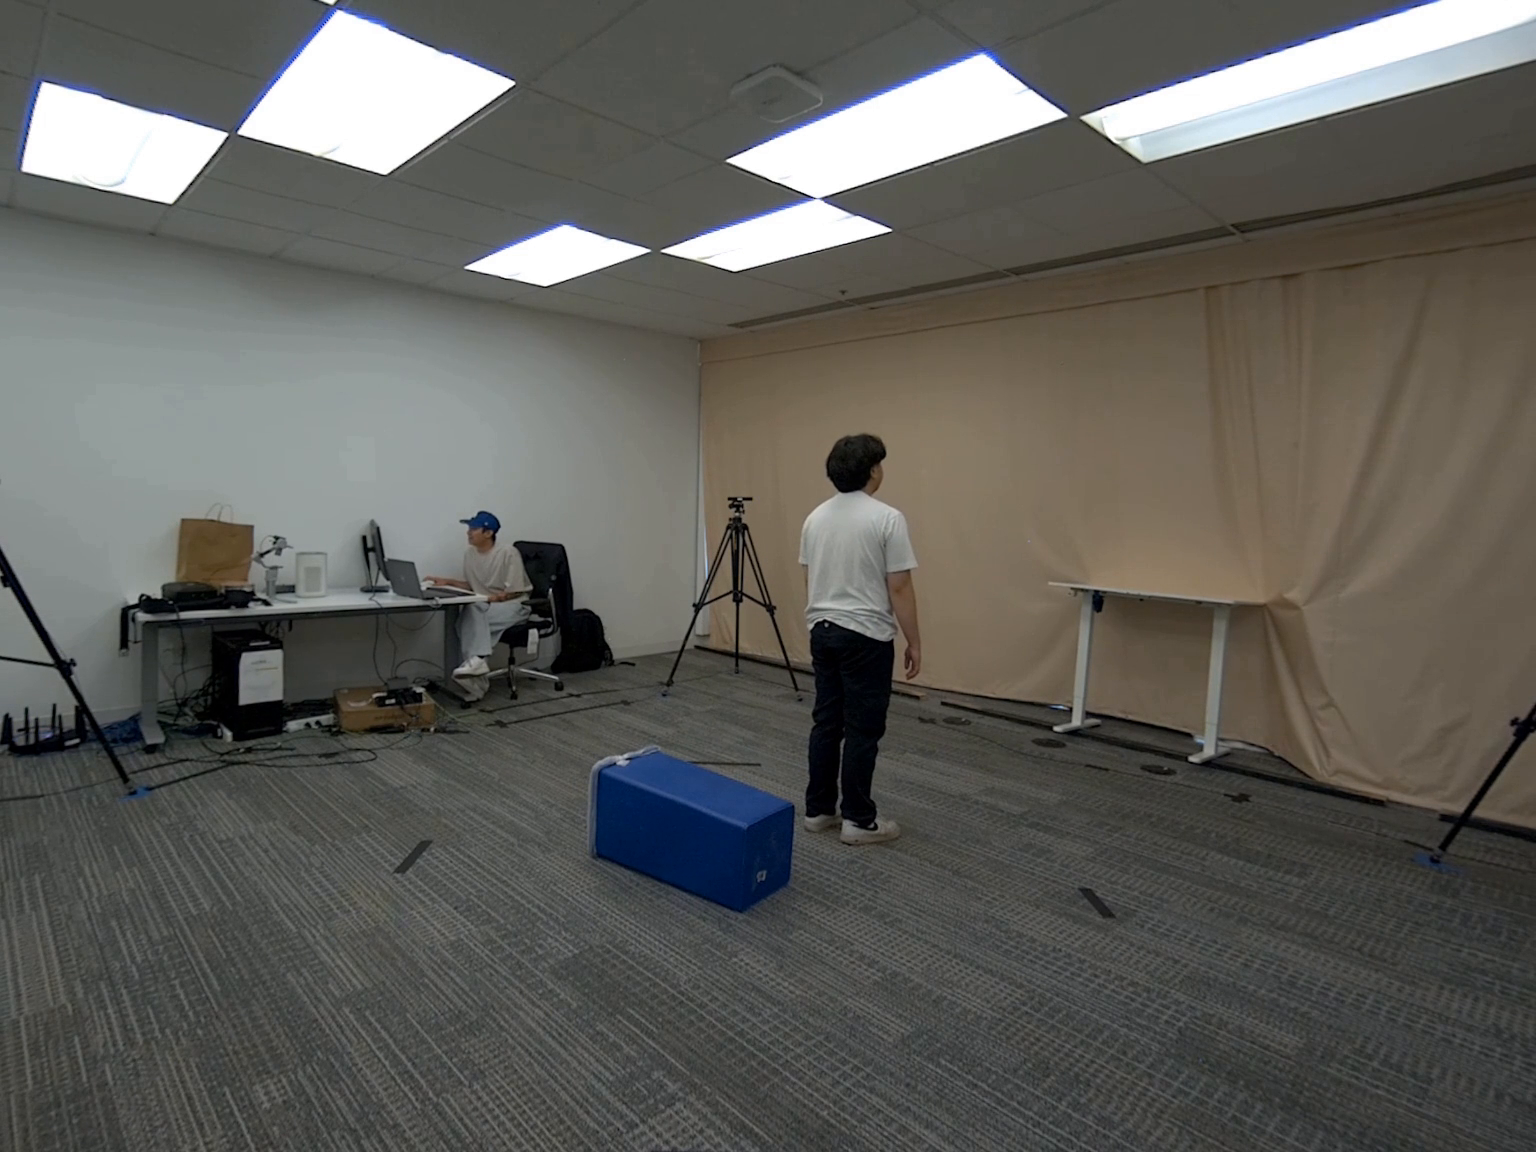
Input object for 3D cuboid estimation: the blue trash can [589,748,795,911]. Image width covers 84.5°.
[{"bbox_3d":[-0.295,0.936,3.142,0.732,0.373,0.369,9,7,37],"label":"blue trash can"}]
